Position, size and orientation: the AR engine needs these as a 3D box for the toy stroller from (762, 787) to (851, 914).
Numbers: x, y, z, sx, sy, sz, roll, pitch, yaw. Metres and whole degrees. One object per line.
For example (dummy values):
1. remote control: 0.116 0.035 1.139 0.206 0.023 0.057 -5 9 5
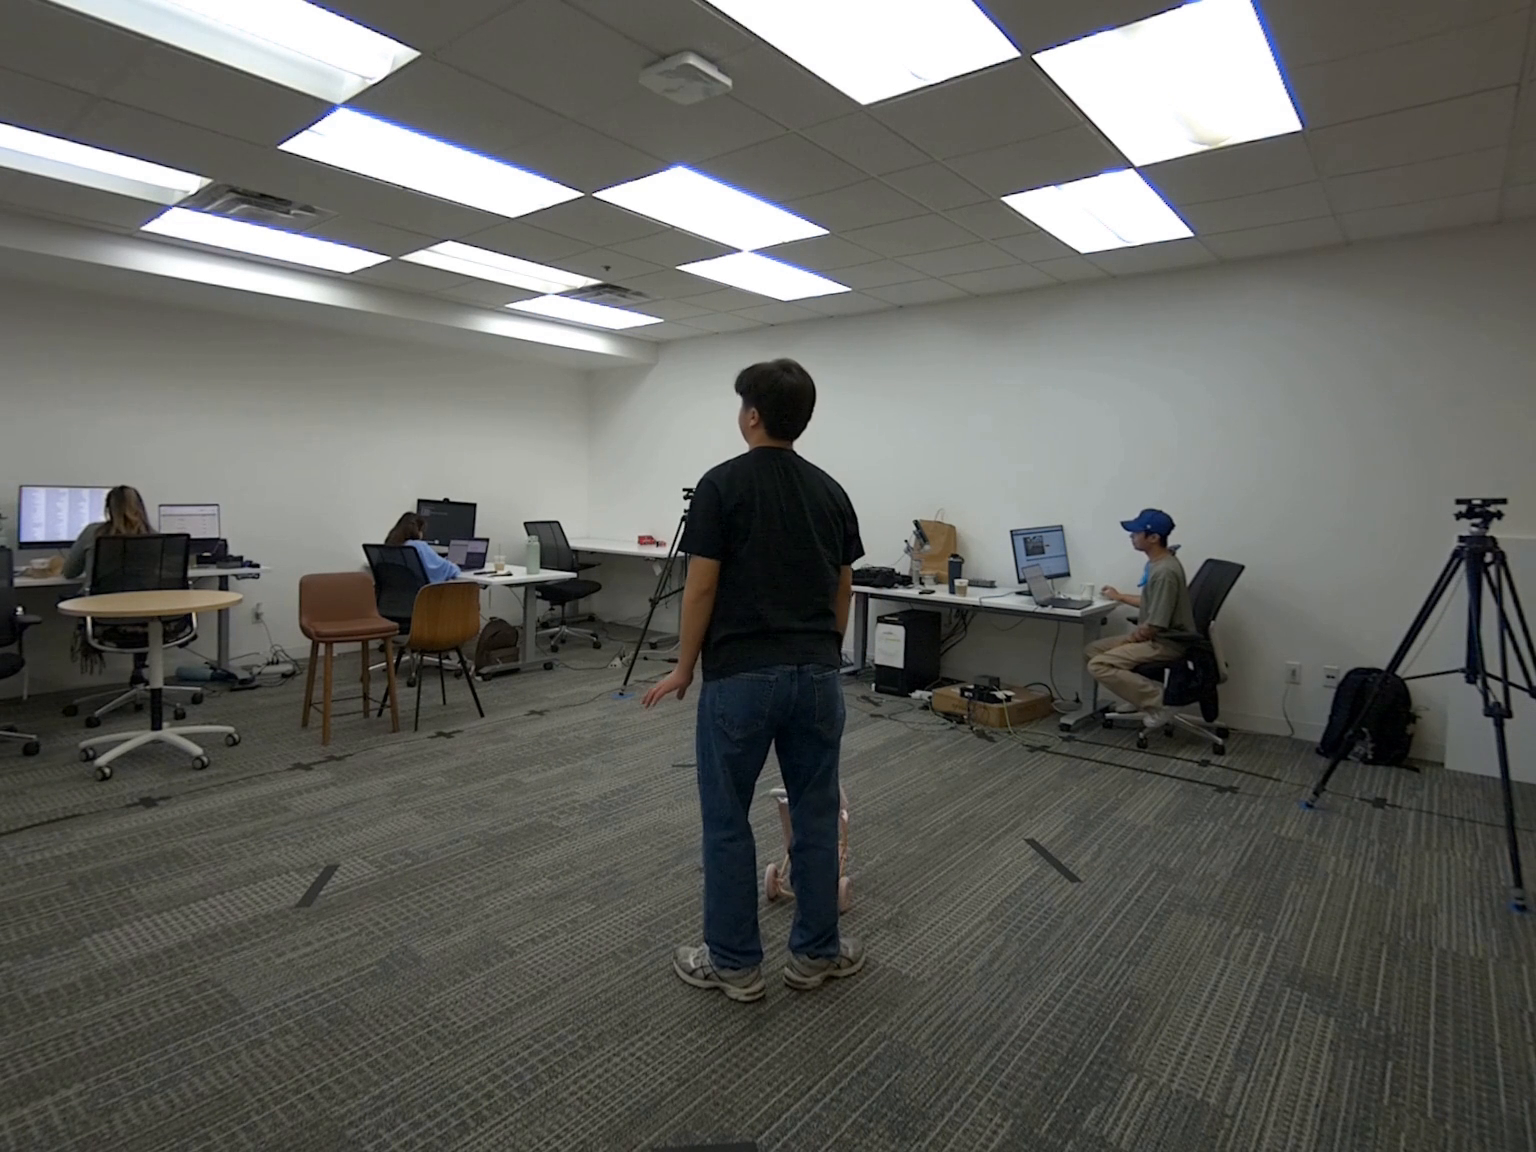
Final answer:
1. toy stroller: 0.151 0.870 2.915 0.288 0.525 0.339 3 20 22
